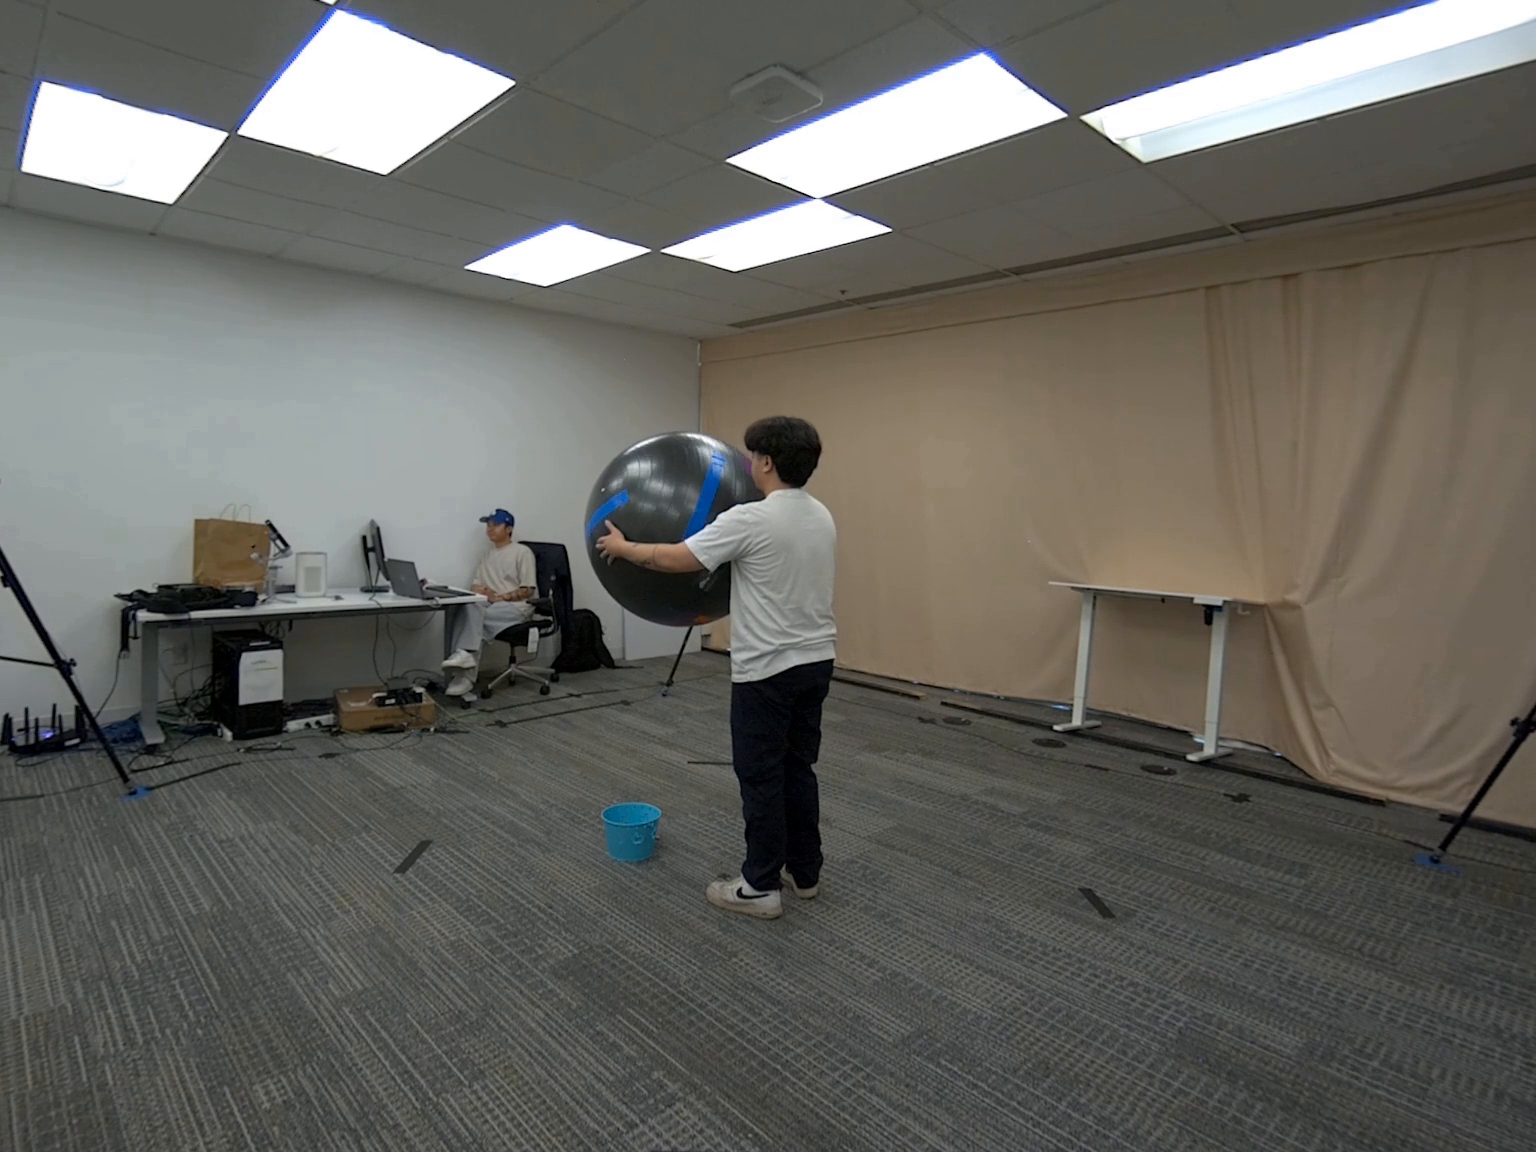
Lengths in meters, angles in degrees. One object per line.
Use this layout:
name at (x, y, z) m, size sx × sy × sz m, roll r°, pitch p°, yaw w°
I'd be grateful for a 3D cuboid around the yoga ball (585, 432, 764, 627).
yoga ball at (-0.347, -0.173, 3.301) m, size 0.757 × 0.756 × 0.760 m, roll 1°, pitch 4°, yaw -1°
